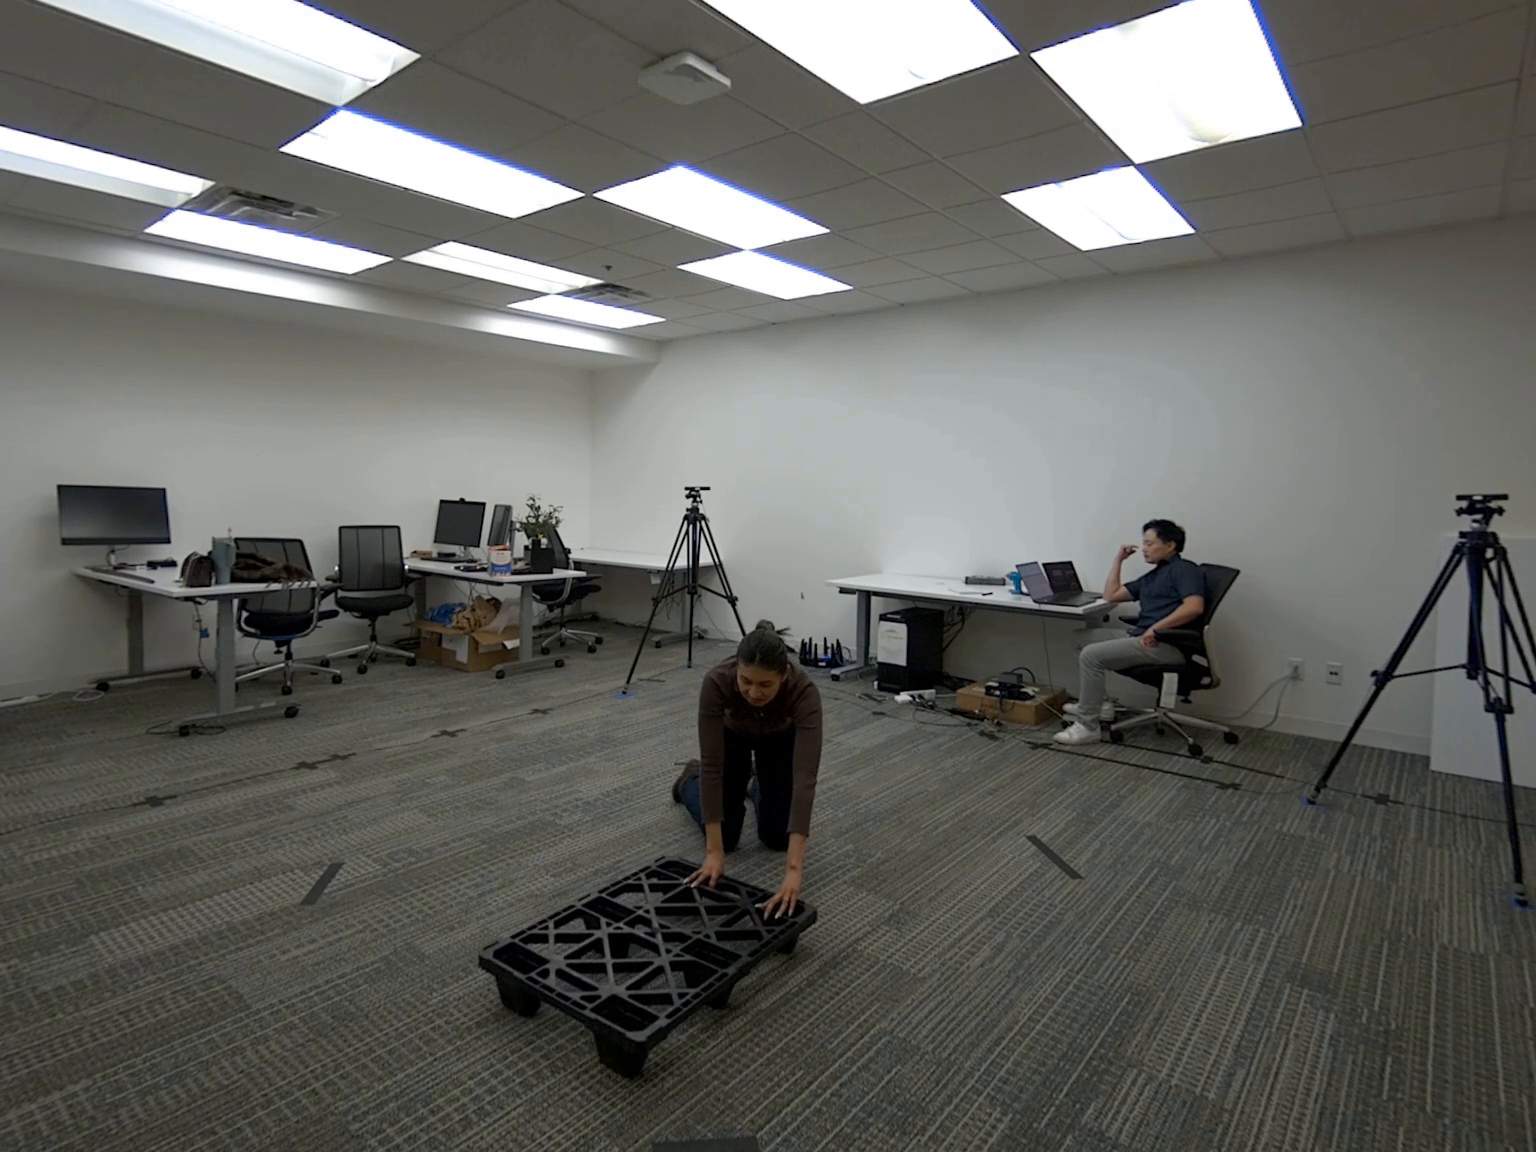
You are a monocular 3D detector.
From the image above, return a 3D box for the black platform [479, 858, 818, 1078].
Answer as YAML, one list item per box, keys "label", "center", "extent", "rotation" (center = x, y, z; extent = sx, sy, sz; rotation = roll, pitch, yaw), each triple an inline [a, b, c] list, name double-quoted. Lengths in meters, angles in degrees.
- label: "black platform"
  center: [-0.314, 1.067, 2.419]
  extent: [0.625, 0.142, 0.783]
  rotation: [5, 8, 35]
